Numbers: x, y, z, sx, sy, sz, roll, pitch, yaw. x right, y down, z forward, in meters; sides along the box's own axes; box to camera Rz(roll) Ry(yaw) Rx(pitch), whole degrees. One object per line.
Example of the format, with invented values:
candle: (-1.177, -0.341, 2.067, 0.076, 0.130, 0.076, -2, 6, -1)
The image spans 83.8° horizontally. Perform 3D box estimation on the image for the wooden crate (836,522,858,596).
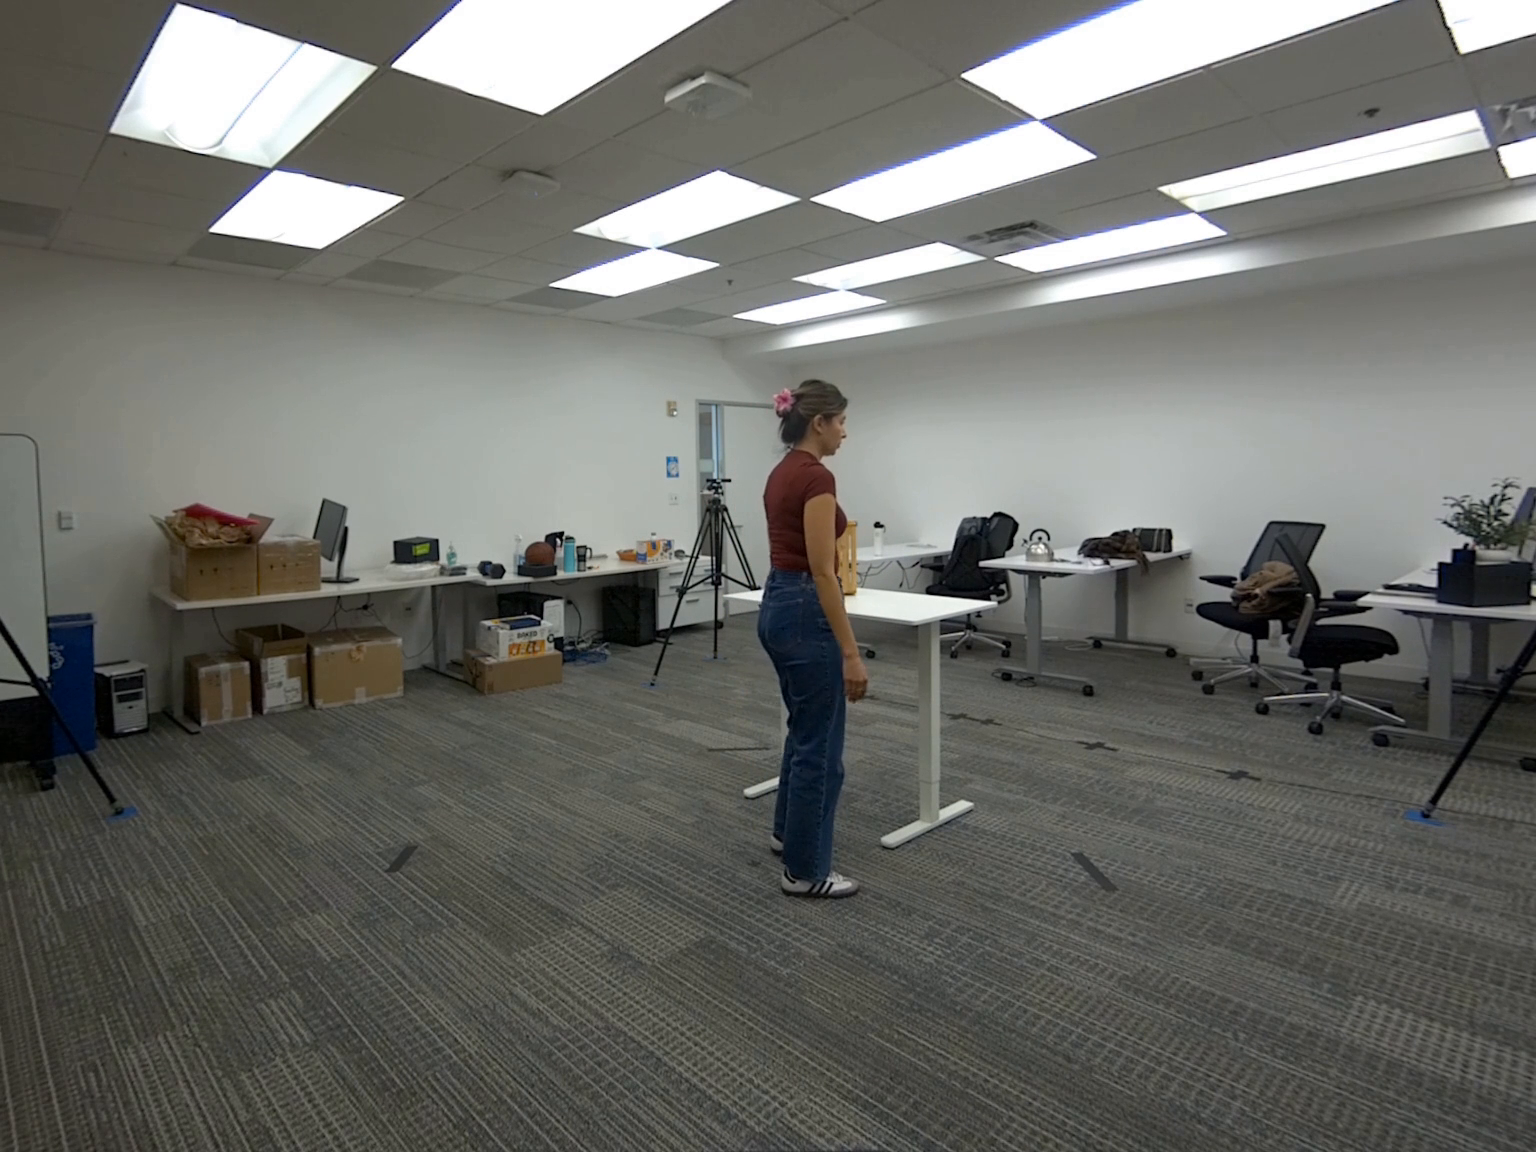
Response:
wooden crate: (0.275, -0.090, 3.870, 0.275, 0.323, 0.302, 0, 5, 5)
